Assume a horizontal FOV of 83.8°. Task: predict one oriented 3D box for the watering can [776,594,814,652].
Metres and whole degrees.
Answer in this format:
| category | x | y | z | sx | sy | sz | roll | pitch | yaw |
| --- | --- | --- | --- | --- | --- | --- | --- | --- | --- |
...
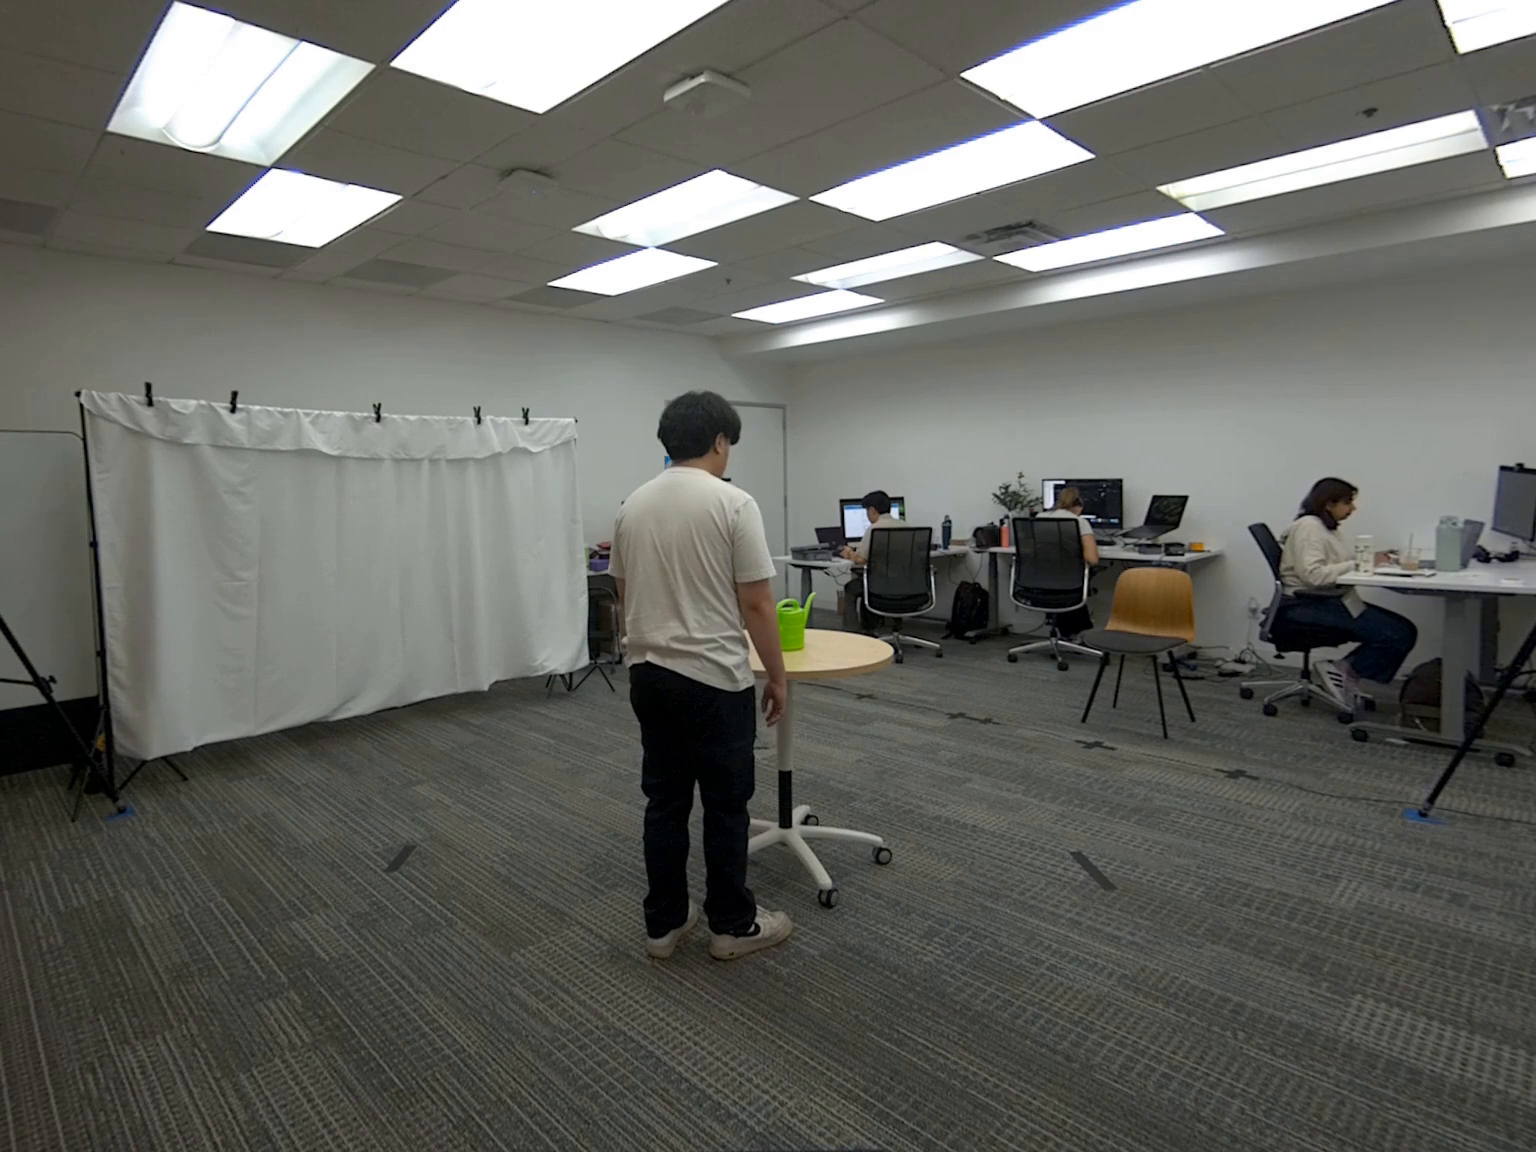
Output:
| category | x | y | z | sx | sy | sz | roll | pitch | yaw |
| --- | --- | --- | --- | --- | --- | --- | --- | --- | --- |
| watering can | 0.114 | 0.167 | 3.058 | 0.101 | 0.176 | 0.271 | 4 | 8 | 45 |
